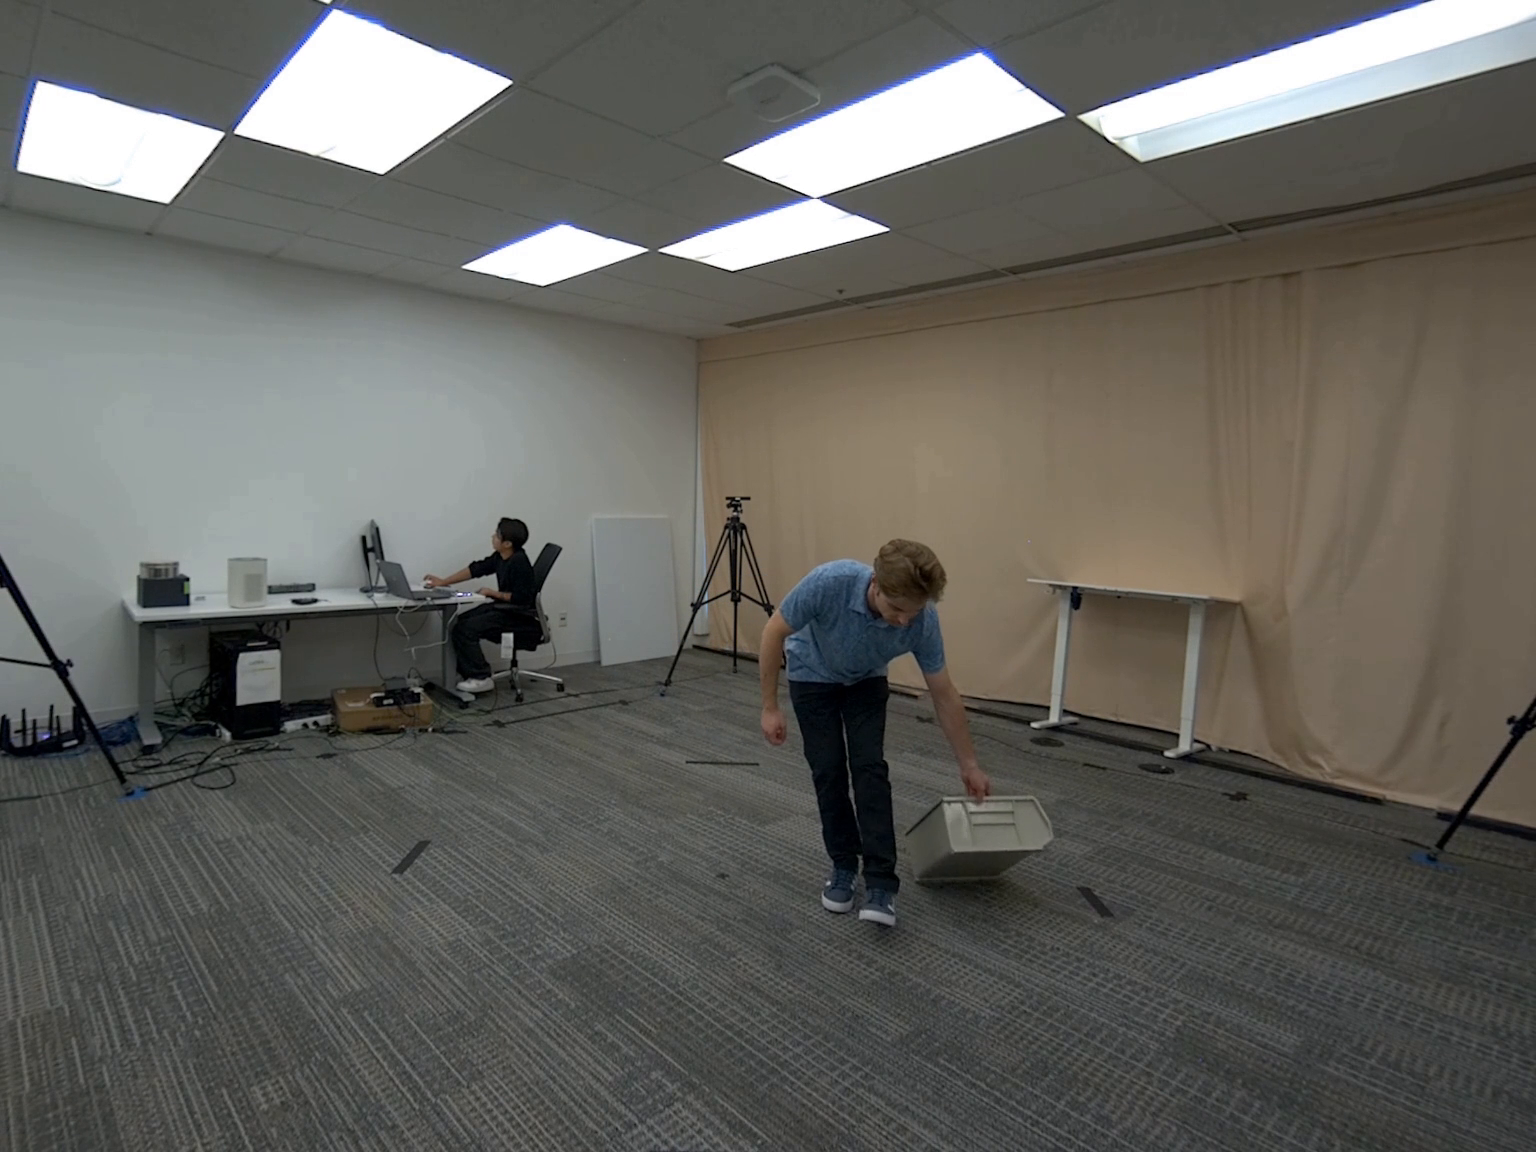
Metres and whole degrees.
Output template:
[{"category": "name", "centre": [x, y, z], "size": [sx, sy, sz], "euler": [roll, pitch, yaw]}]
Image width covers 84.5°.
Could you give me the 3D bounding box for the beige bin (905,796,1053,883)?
[{"category": "beige bin", "centre": [0.733, 0.945, 2.991], "size": [0.374, 0.193, 0.416], "euler": [1, -33, -11]}]
